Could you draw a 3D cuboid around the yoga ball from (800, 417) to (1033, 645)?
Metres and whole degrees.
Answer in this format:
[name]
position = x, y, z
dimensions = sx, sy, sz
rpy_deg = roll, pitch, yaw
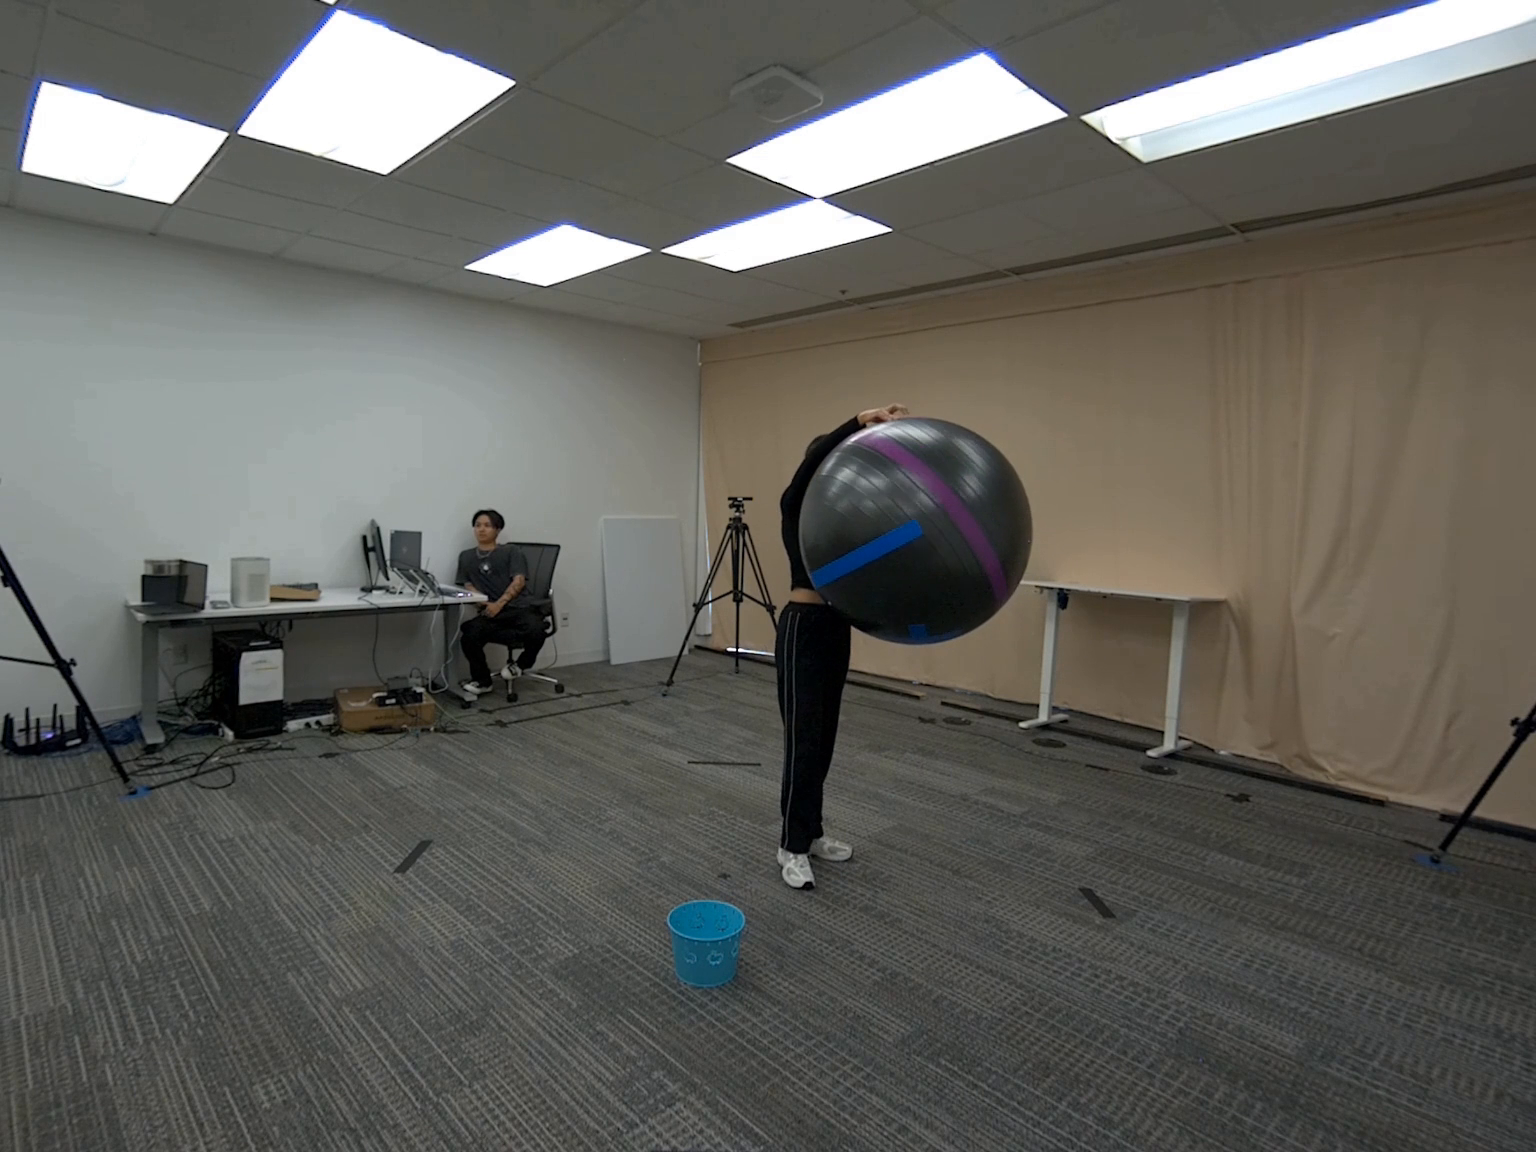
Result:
[yoga ball]
position = 0.483, -0.145, 2.824
dimensions = 0.757, 0.756, 0.761
rpy_deg = 1, 4, -1
